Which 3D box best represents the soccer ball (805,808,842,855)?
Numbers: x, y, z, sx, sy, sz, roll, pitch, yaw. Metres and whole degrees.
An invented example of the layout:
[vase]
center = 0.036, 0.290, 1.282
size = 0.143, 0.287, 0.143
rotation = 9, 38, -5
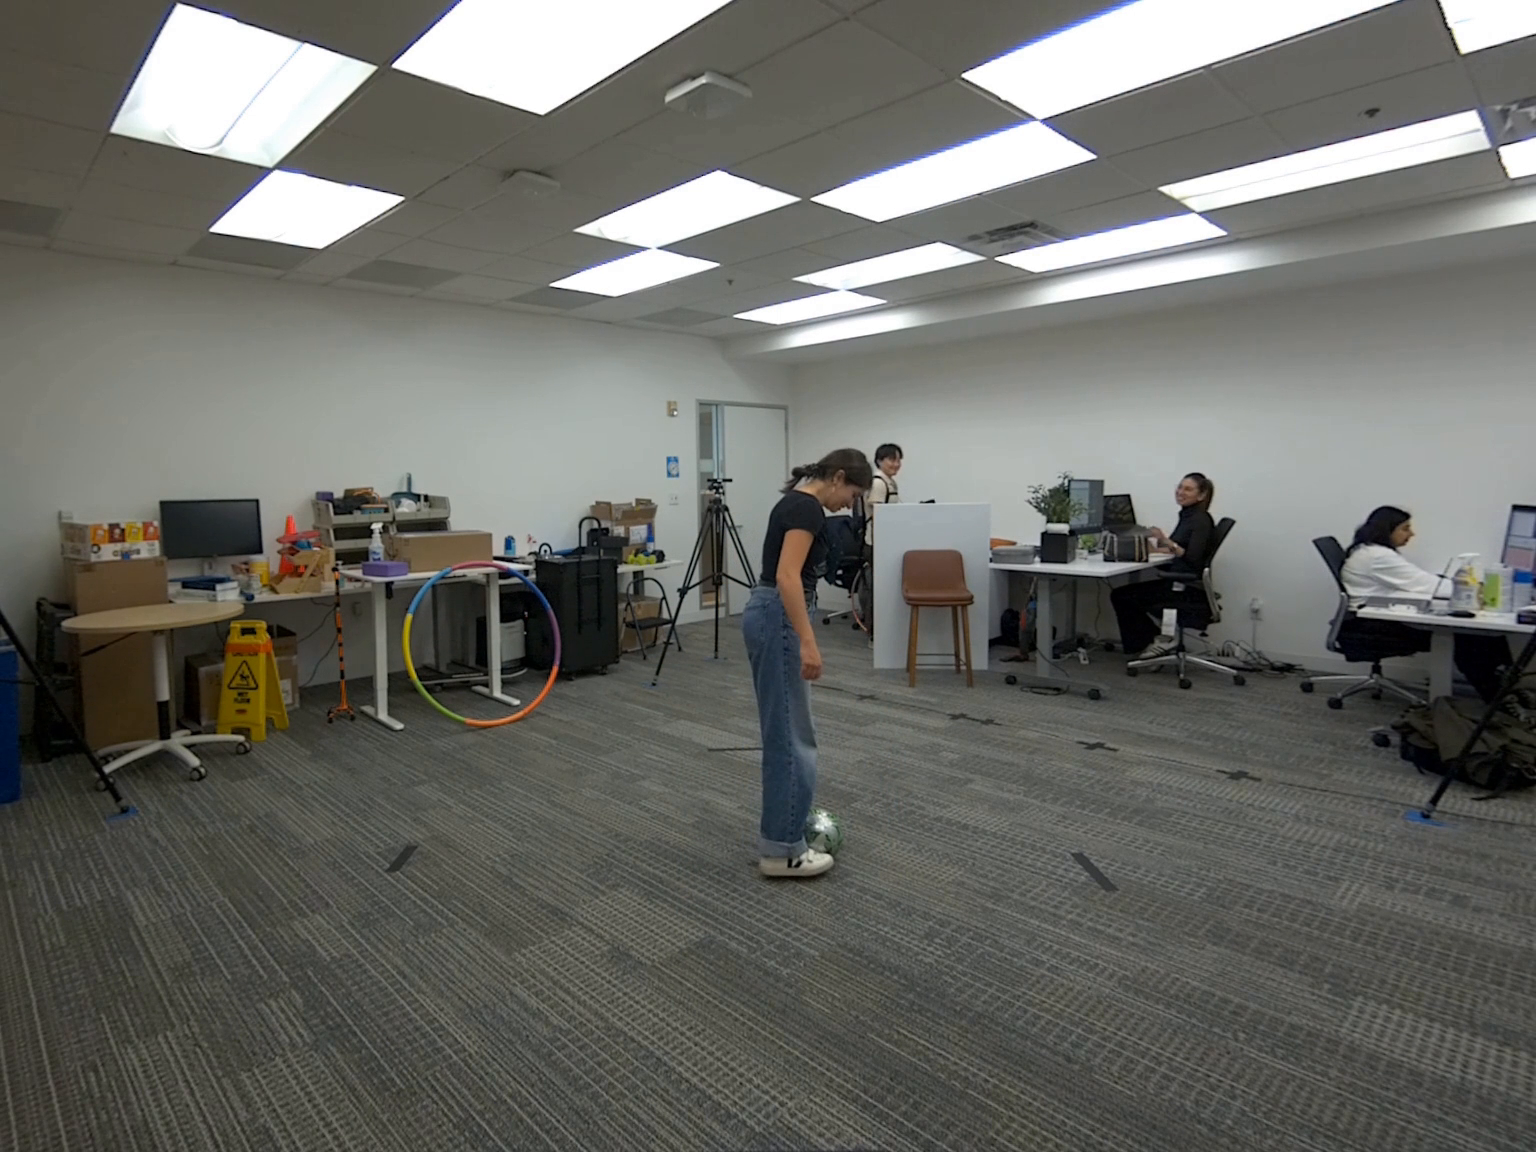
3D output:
[soccer ball]
center = 0.182, 0.950, 3.126
size = 0.187, 0.187, 0.188
rotation = -1, 5, -2
